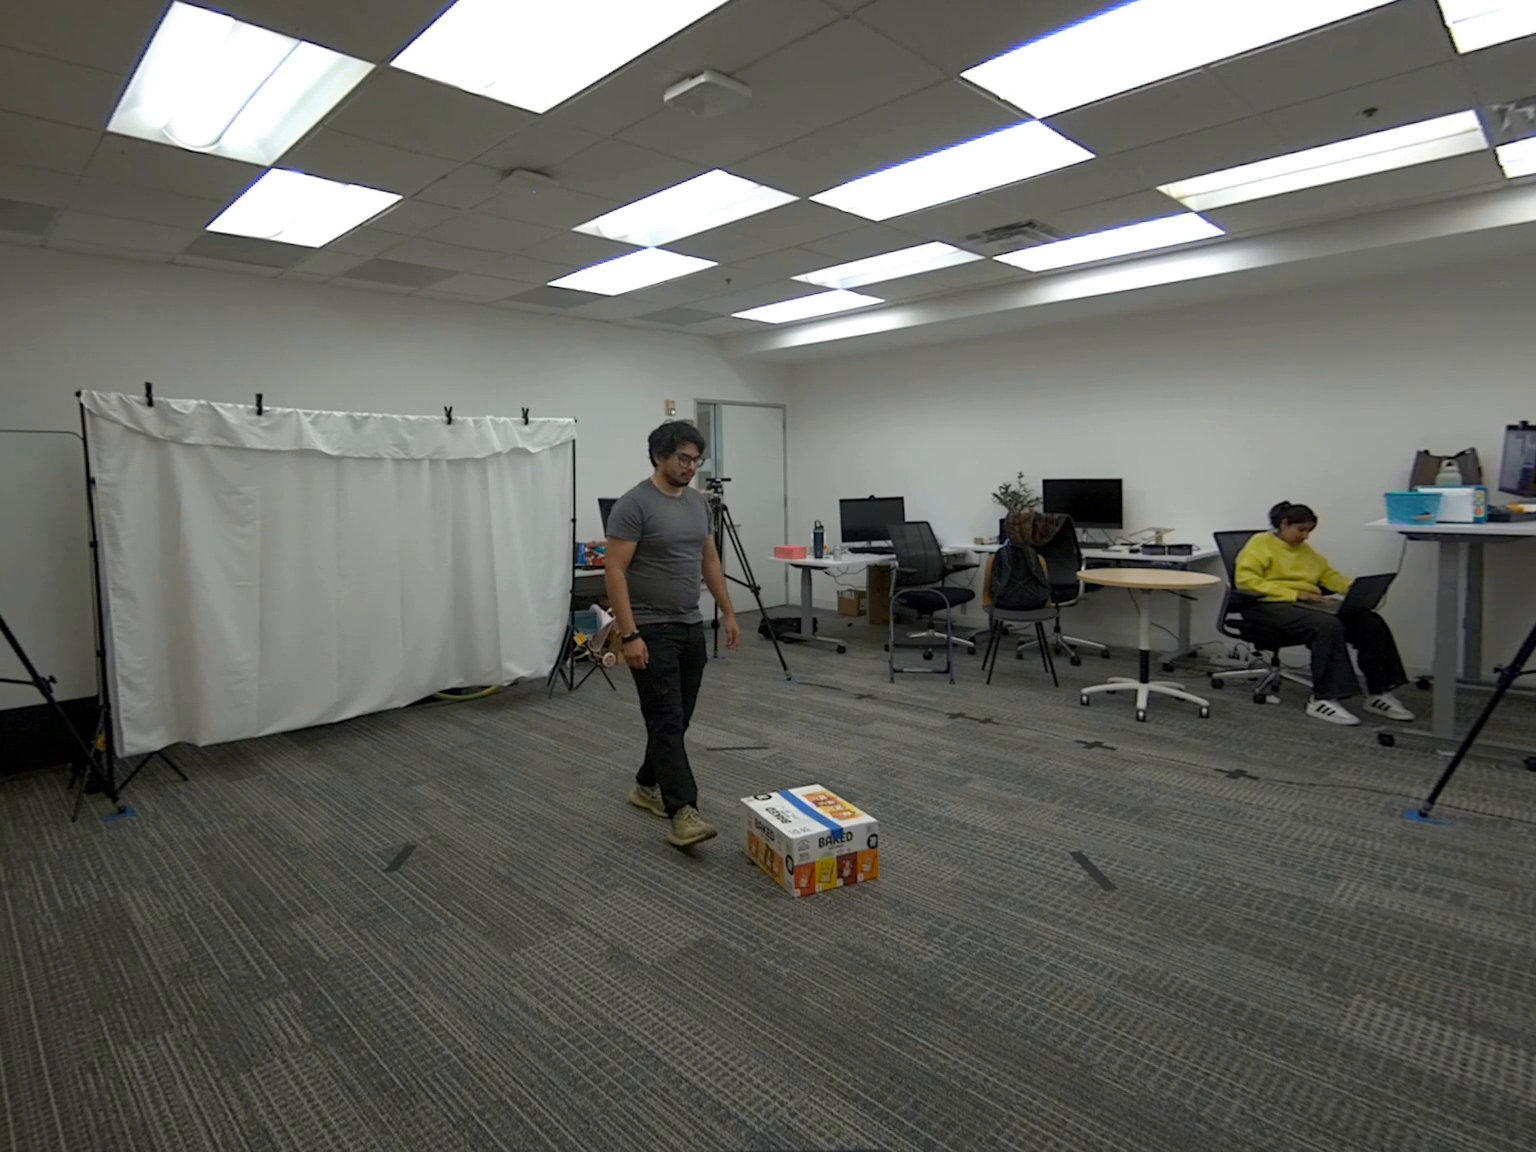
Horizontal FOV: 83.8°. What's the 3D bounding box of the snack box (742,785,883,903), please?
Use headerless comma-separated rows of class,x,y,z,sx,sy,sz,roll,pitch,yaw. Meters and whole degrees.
snack box,0.148,0.944,3.077,0.333,0.205,0.415,-4,7,-26
